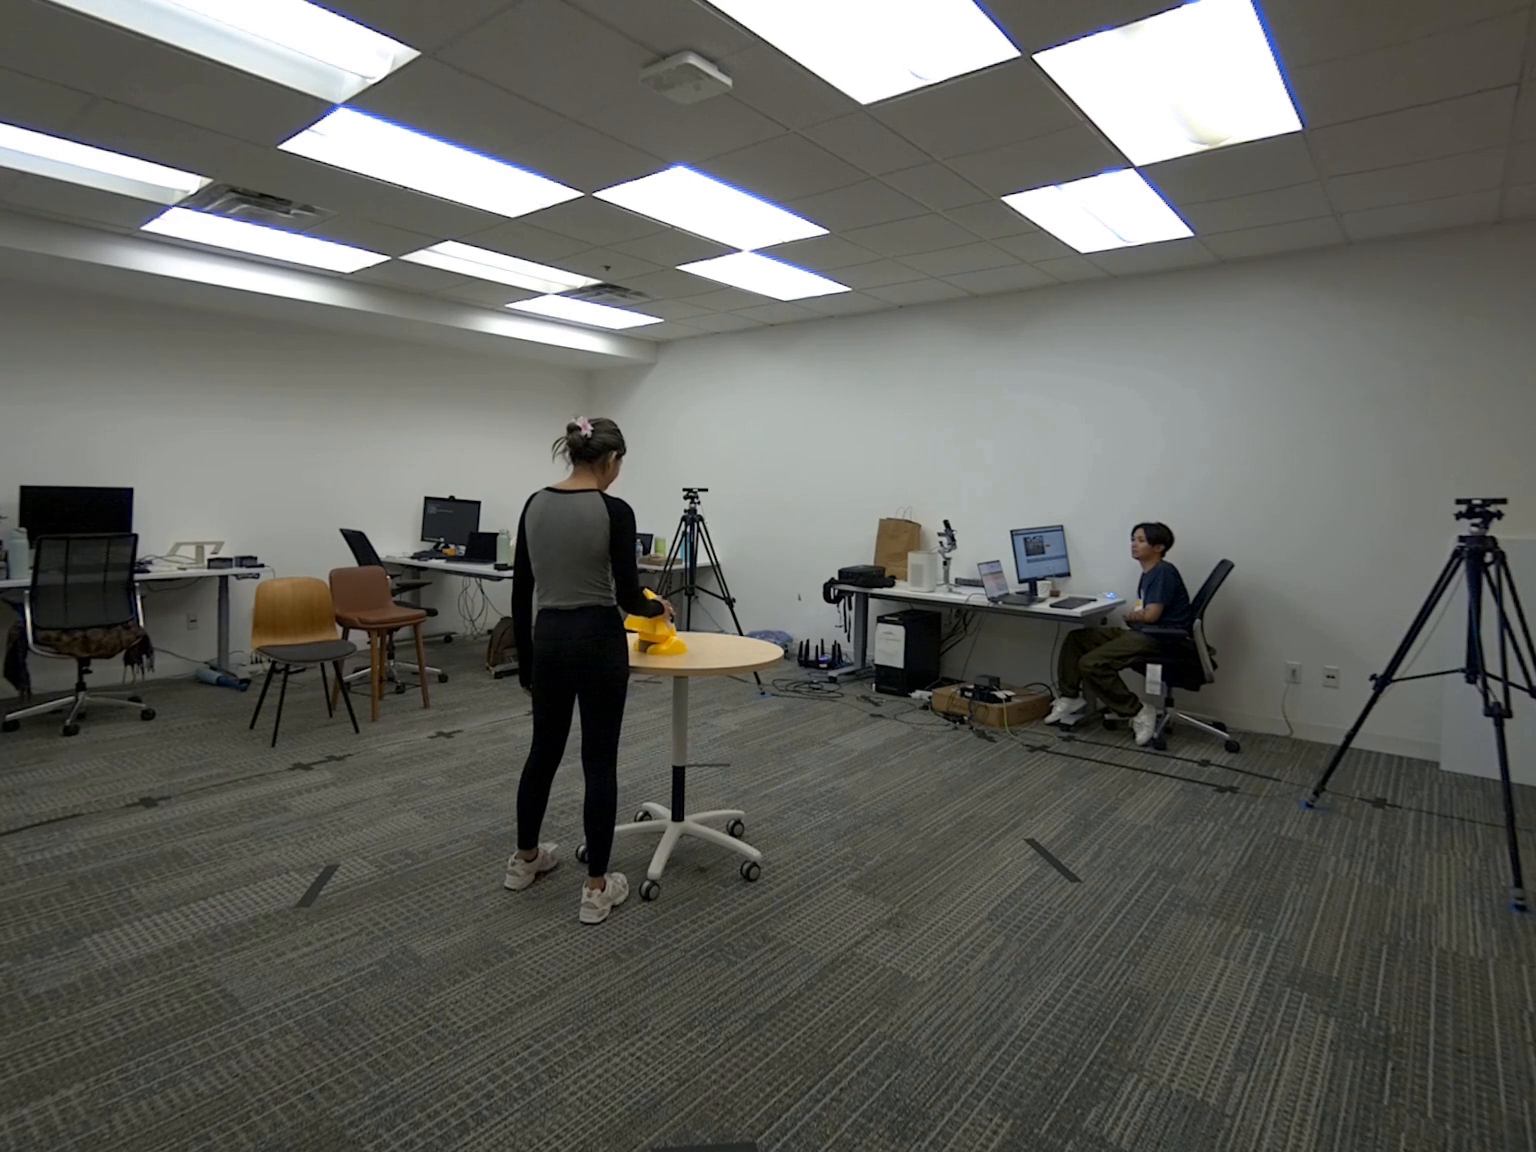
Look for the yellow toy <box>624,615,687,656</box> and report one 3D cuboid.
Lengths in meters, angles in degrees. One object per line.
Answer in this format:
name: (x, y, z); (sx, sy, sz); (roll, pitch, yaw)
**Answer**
yellow toy: (-0.414, 0.156, 3.125); (0.187, 0.230, 0.212); (-2, 4, -45)
